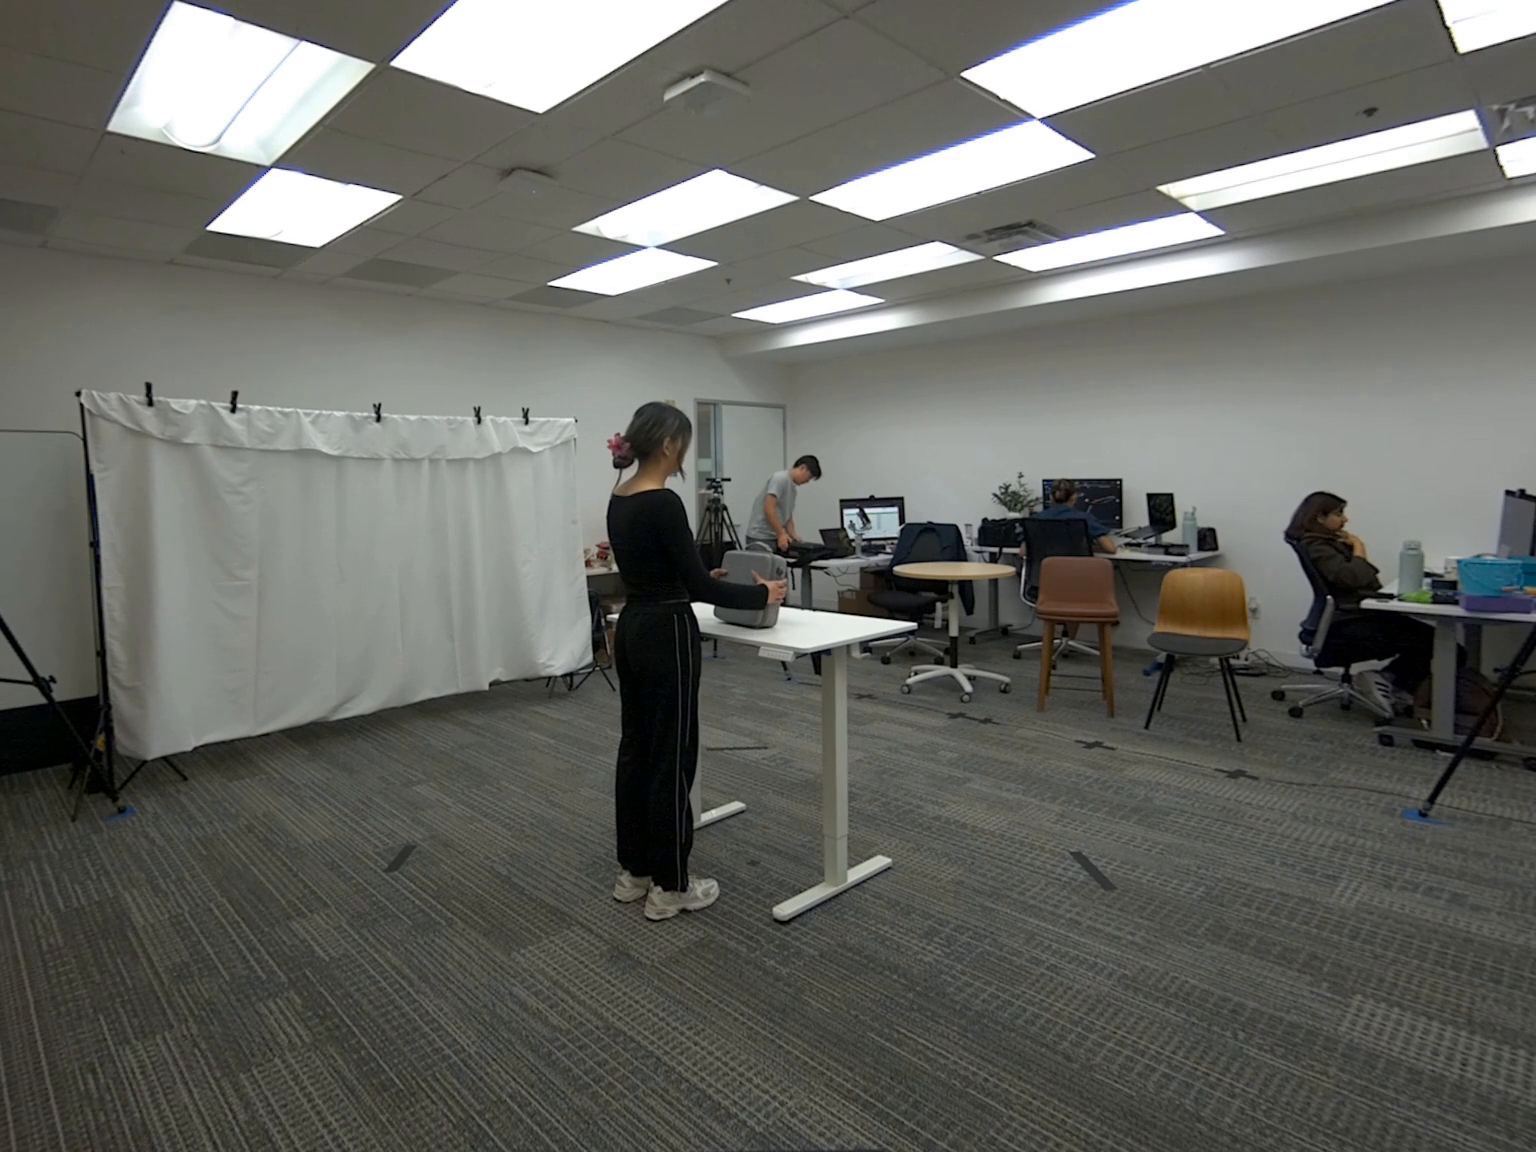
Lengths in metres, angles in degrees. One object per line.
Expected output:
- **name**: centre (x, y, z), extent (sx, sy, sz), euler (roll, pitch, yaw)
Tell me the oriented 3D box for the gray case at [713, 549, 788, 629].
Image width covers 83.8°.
- **gray case**: centre (-0.065, 0.041, 2.995), extent (0.101, 0.261, 0.264), euler (12, -5, -37)
